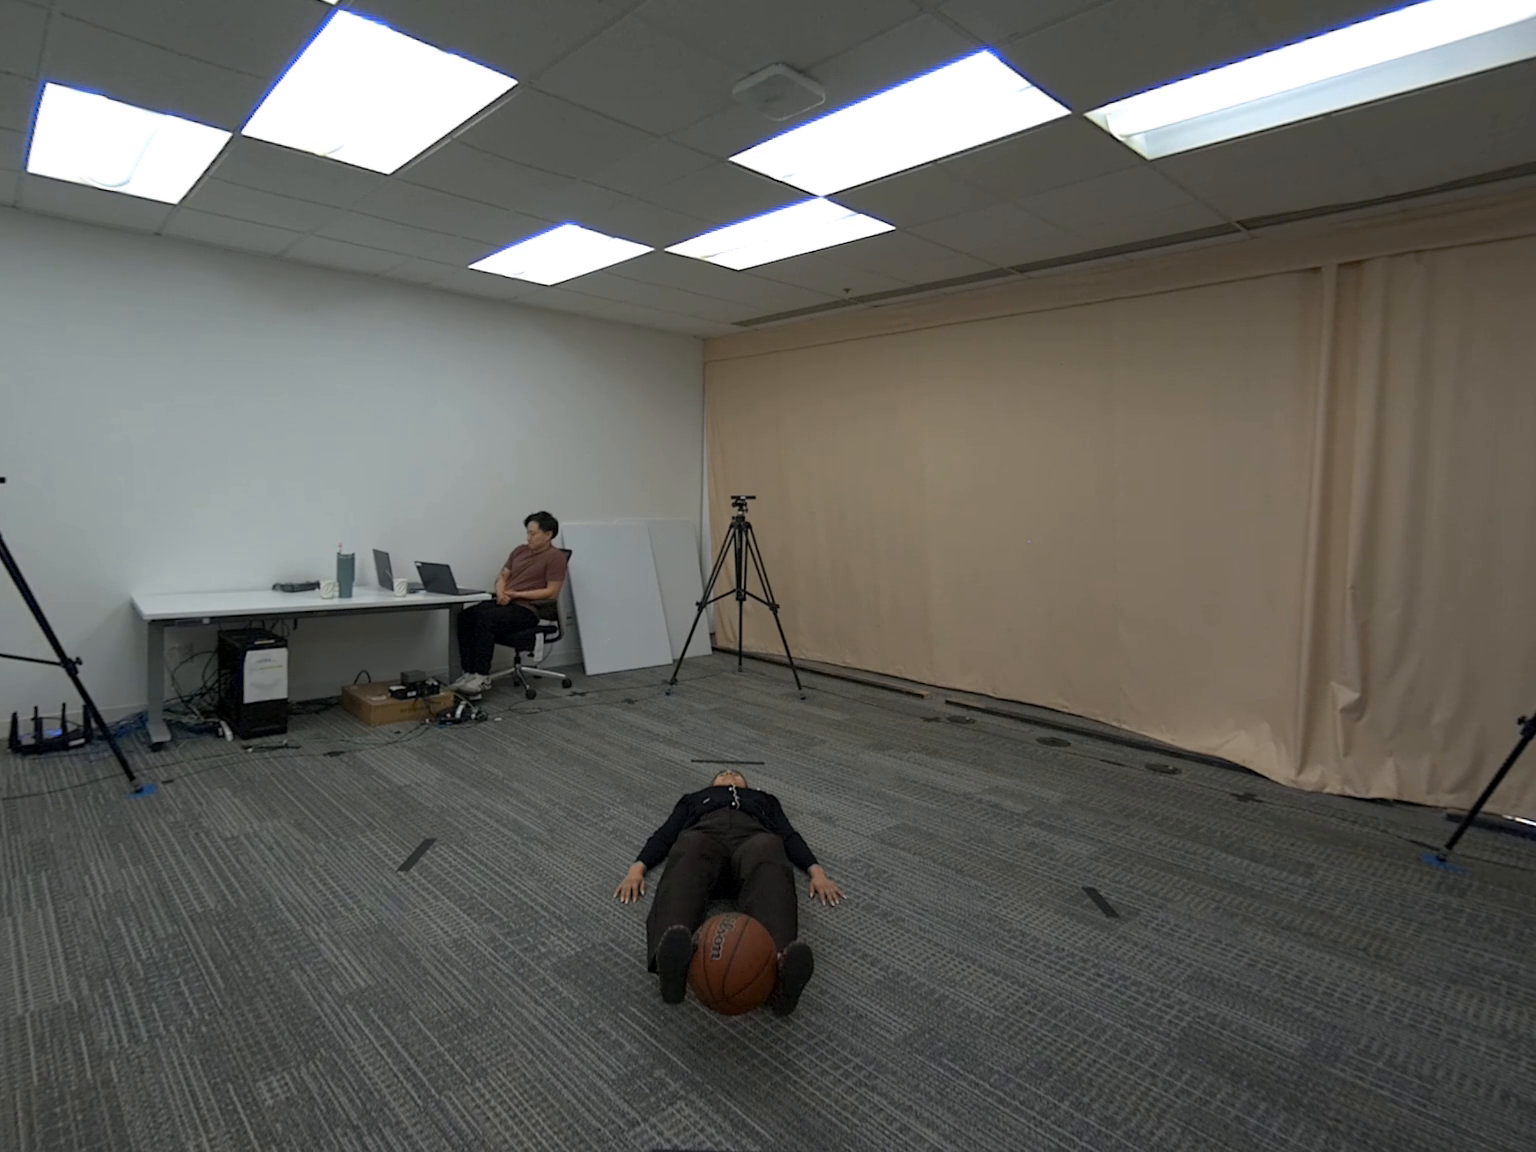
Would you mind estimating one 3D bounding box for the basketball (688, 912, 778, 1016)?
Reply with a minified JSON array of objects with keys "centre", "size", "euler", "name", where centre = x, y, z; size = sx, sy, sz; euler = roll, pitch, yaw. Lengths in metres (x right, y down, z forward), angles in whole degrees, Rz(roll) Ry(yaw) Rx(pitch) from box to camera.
[{"centre":[-0.098,0.989,2.142],"size":[0.235,0.235,0.237],"euler":[4,5,-2],"name":"basketball"}]
